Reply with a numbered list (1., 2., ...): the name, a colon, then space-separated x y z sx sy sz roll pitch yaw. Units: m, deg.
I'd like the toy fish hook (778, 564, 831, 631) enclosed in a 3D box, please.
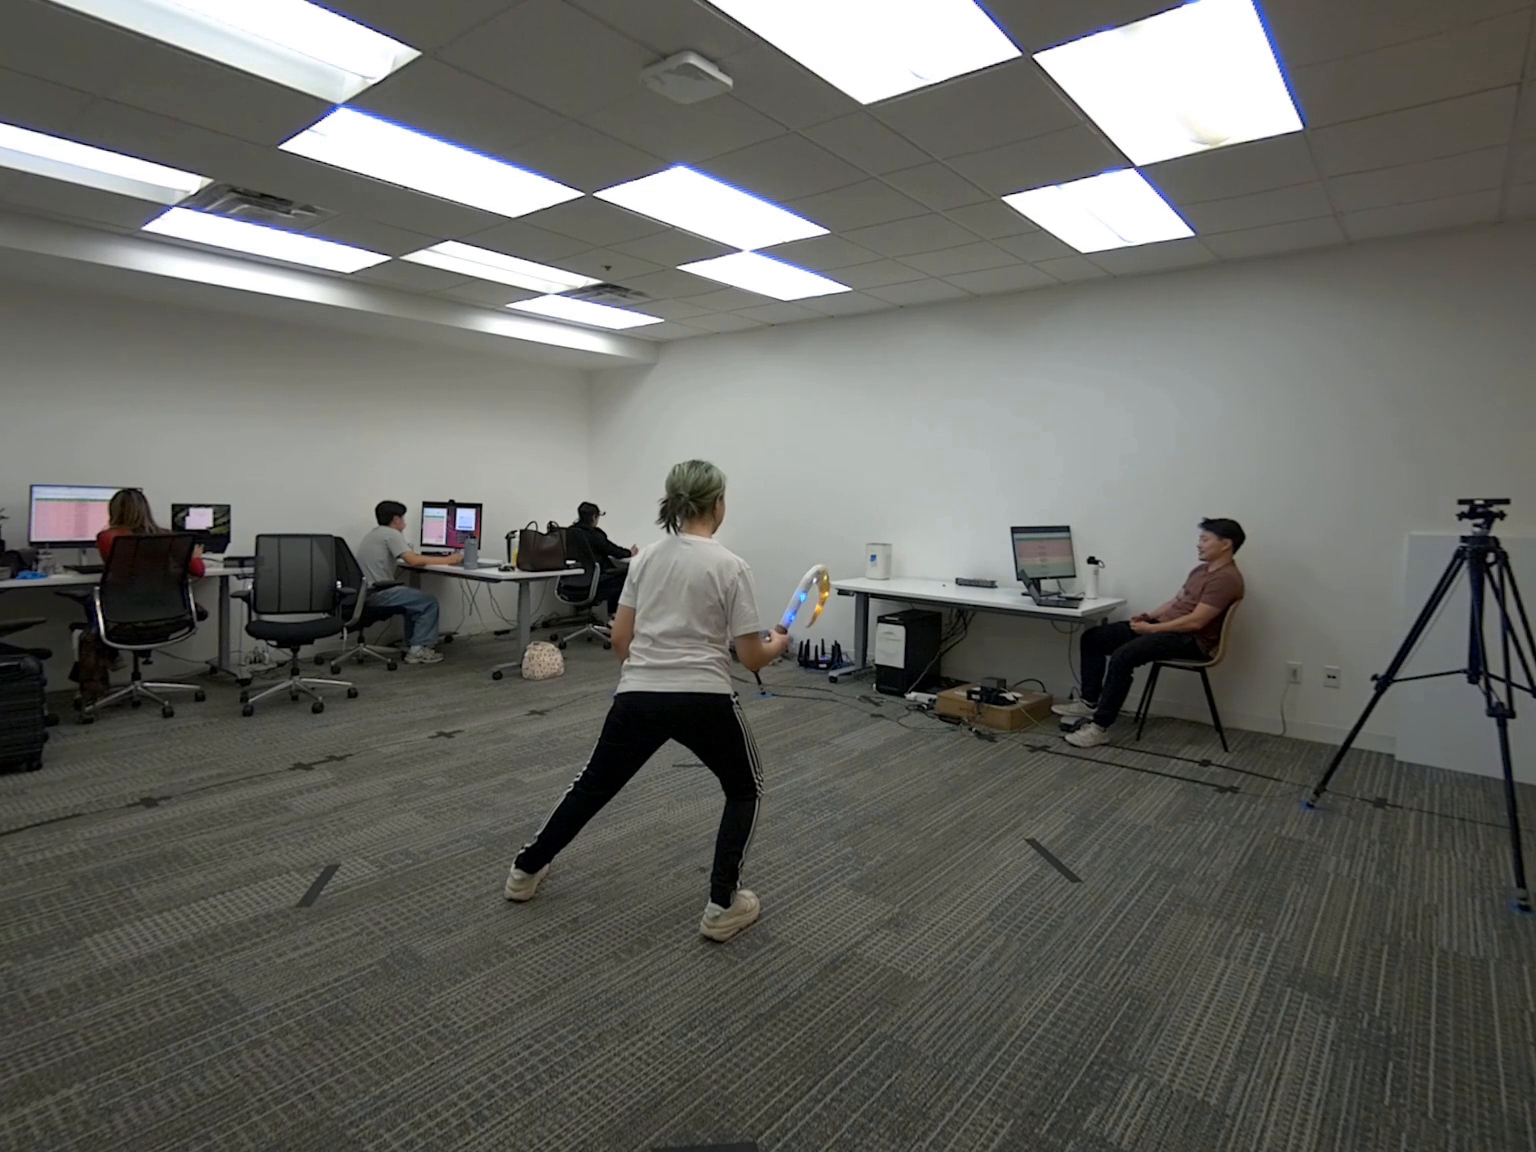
1. toy fish hook: 0.075 0.169 3.040 0.050 0.216 0.508 13 54 36
